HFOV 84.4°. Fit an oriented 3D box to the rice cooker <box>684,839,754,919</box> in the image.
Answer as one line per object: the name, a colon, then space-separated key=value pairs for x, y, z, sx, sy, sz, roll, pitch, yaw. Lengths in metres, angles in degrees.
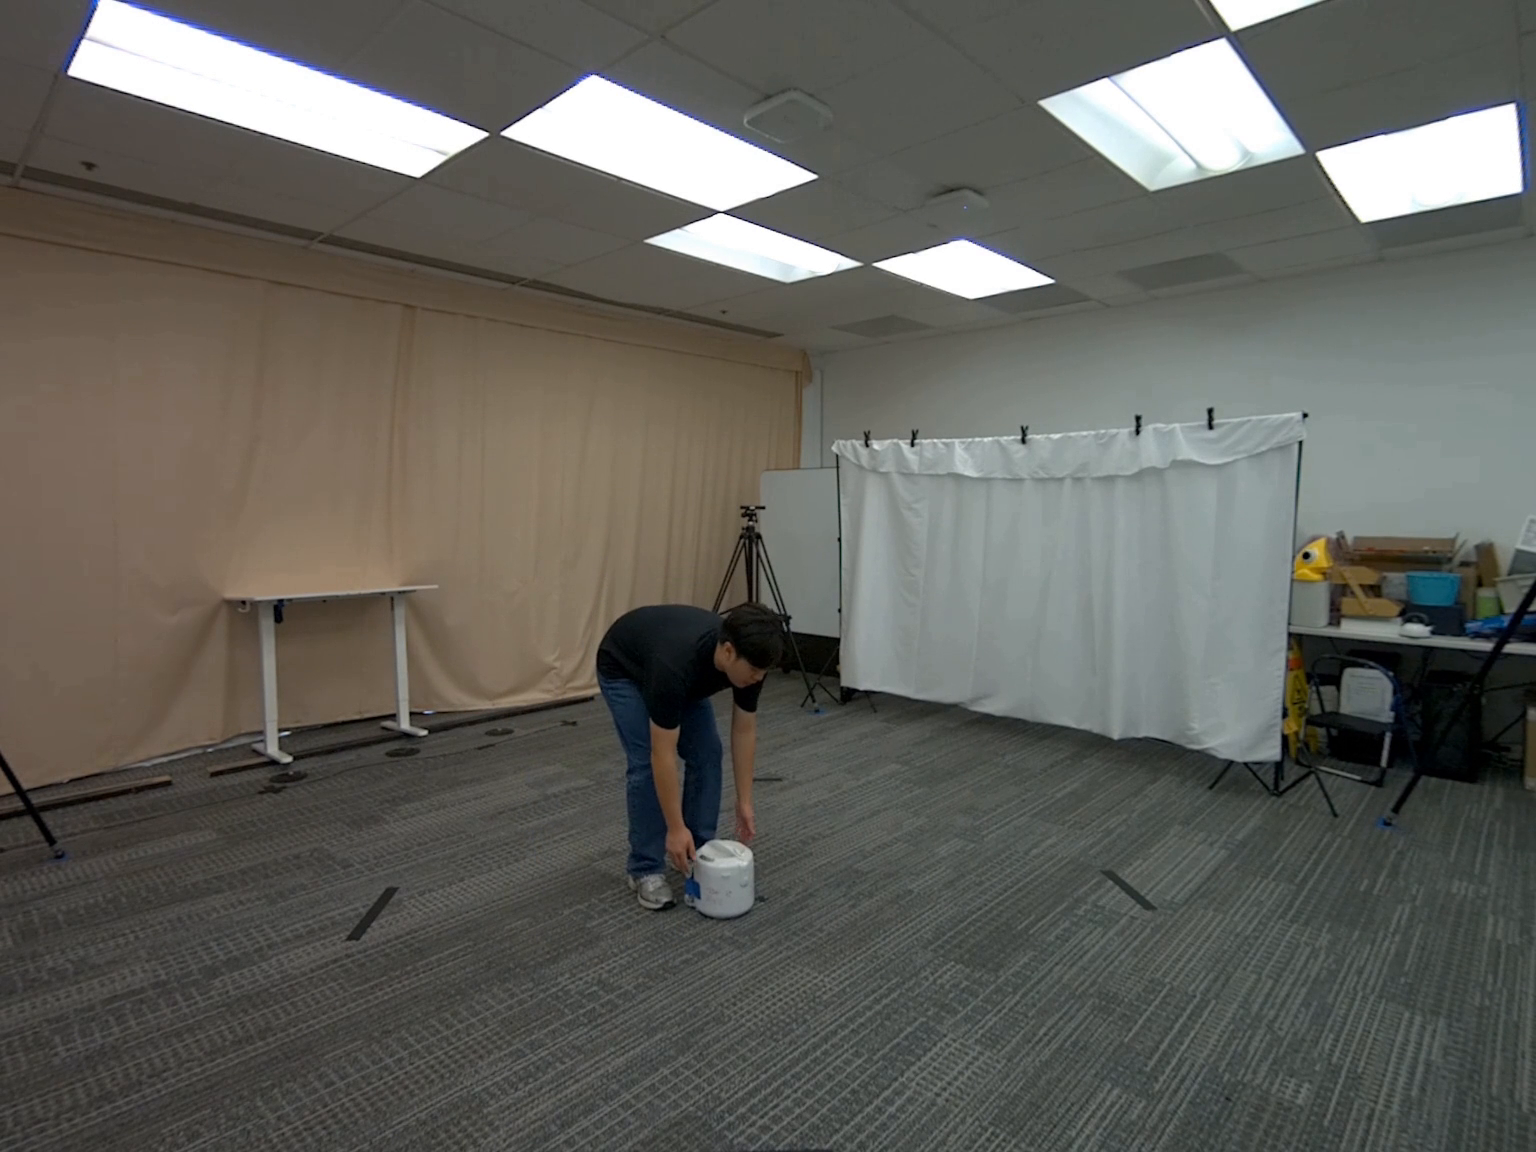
rice cooker: x=-0.152 y=1.030 z=2.913 sx=0.211 sy=0.232 sz=0.228 roll=-8 pitch=8 yaw=-44
